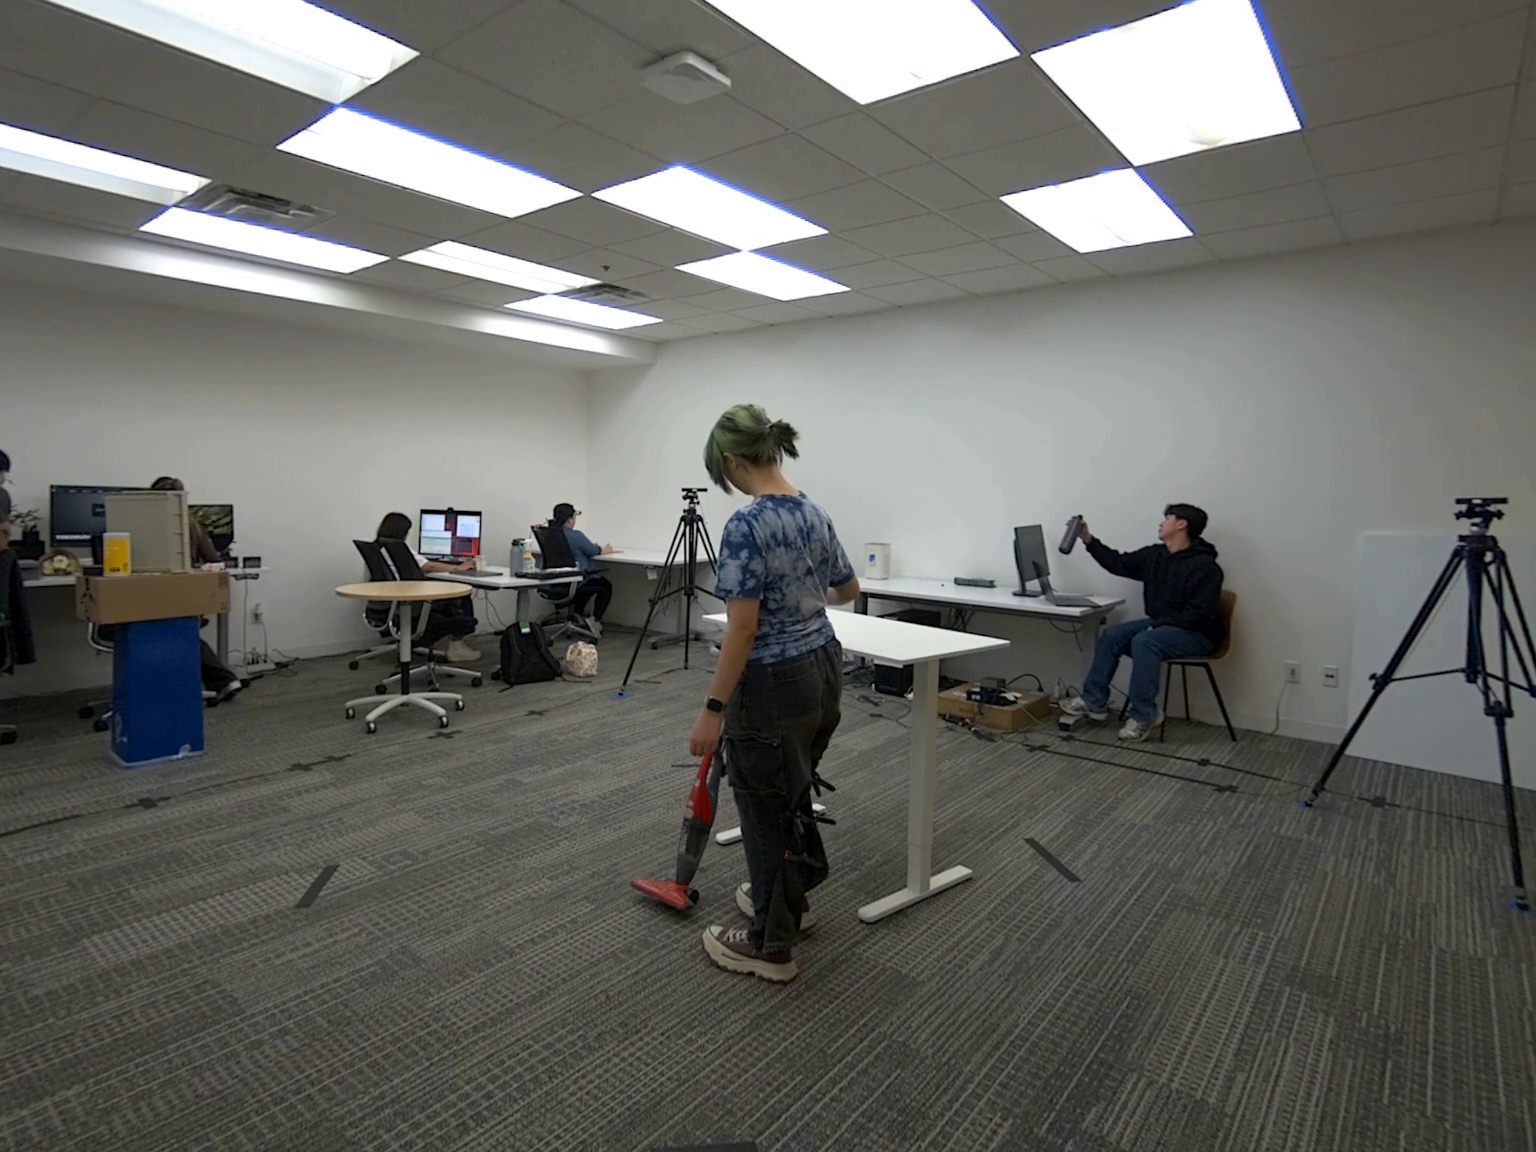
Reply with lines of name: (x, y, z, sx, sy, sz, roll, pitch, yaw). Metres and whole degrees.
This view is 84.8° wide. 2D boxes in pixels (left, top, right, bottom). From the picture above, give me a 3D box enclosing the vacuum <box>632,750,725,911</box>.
vacuum: (-0.178, 0.604, 2.998, 0.261, 1.059, 0.138, 6, -22, 35)
